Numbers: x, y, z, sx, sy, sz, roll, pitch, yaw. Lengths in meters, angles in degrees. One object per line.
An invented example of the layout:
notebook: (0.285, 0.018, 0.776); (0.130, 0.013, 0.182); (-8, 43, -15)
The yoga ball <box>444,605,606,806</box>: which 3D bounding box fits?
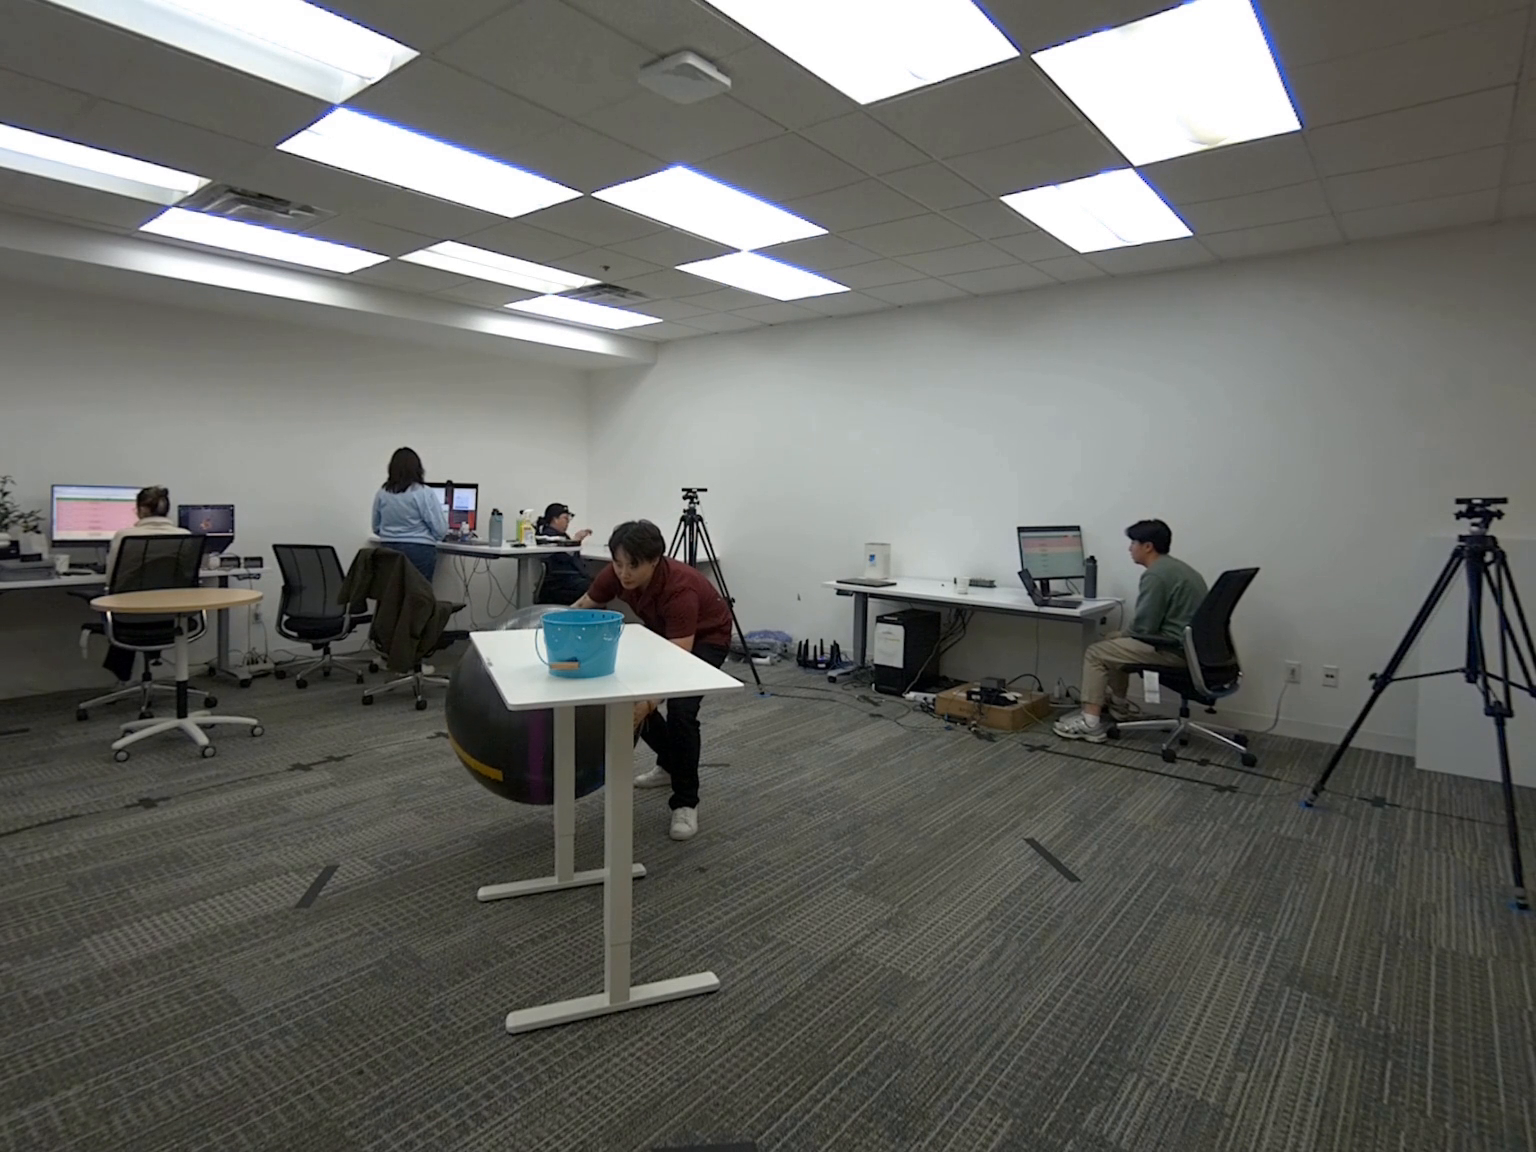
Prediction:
yoga ball: (-0.873, 0.498, 3.303); (0.757, 0.756, 0.762); (1, 4, -2)
